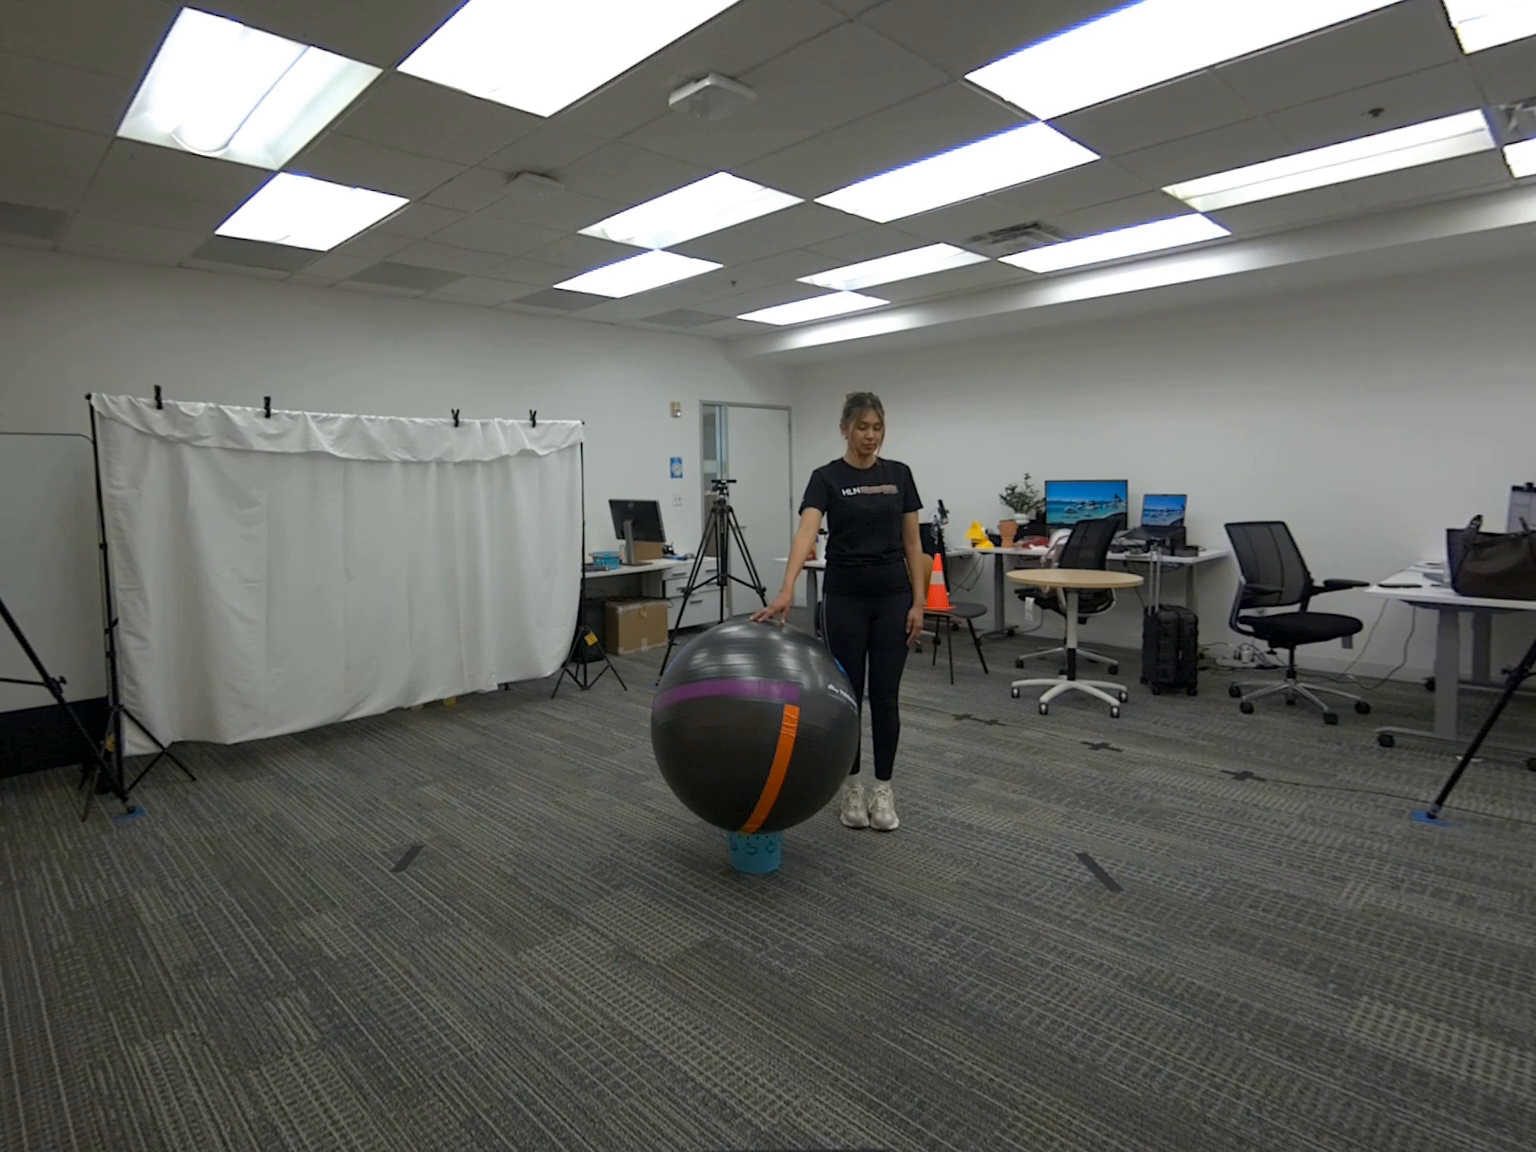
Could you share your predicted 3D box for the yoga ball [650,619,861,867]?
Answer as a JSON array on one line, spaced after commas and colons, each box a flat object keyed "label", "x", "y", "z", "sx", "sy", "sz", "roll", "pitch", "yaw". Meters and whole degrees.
[{"label": "yoga ball", "x": -0.048, "y": 0.543, "z": 3.106, "sx": 0.757, "sy": 0.755, "sz": 0.762, "roll": -1, "pitch": 5, "yaw": -2}]
